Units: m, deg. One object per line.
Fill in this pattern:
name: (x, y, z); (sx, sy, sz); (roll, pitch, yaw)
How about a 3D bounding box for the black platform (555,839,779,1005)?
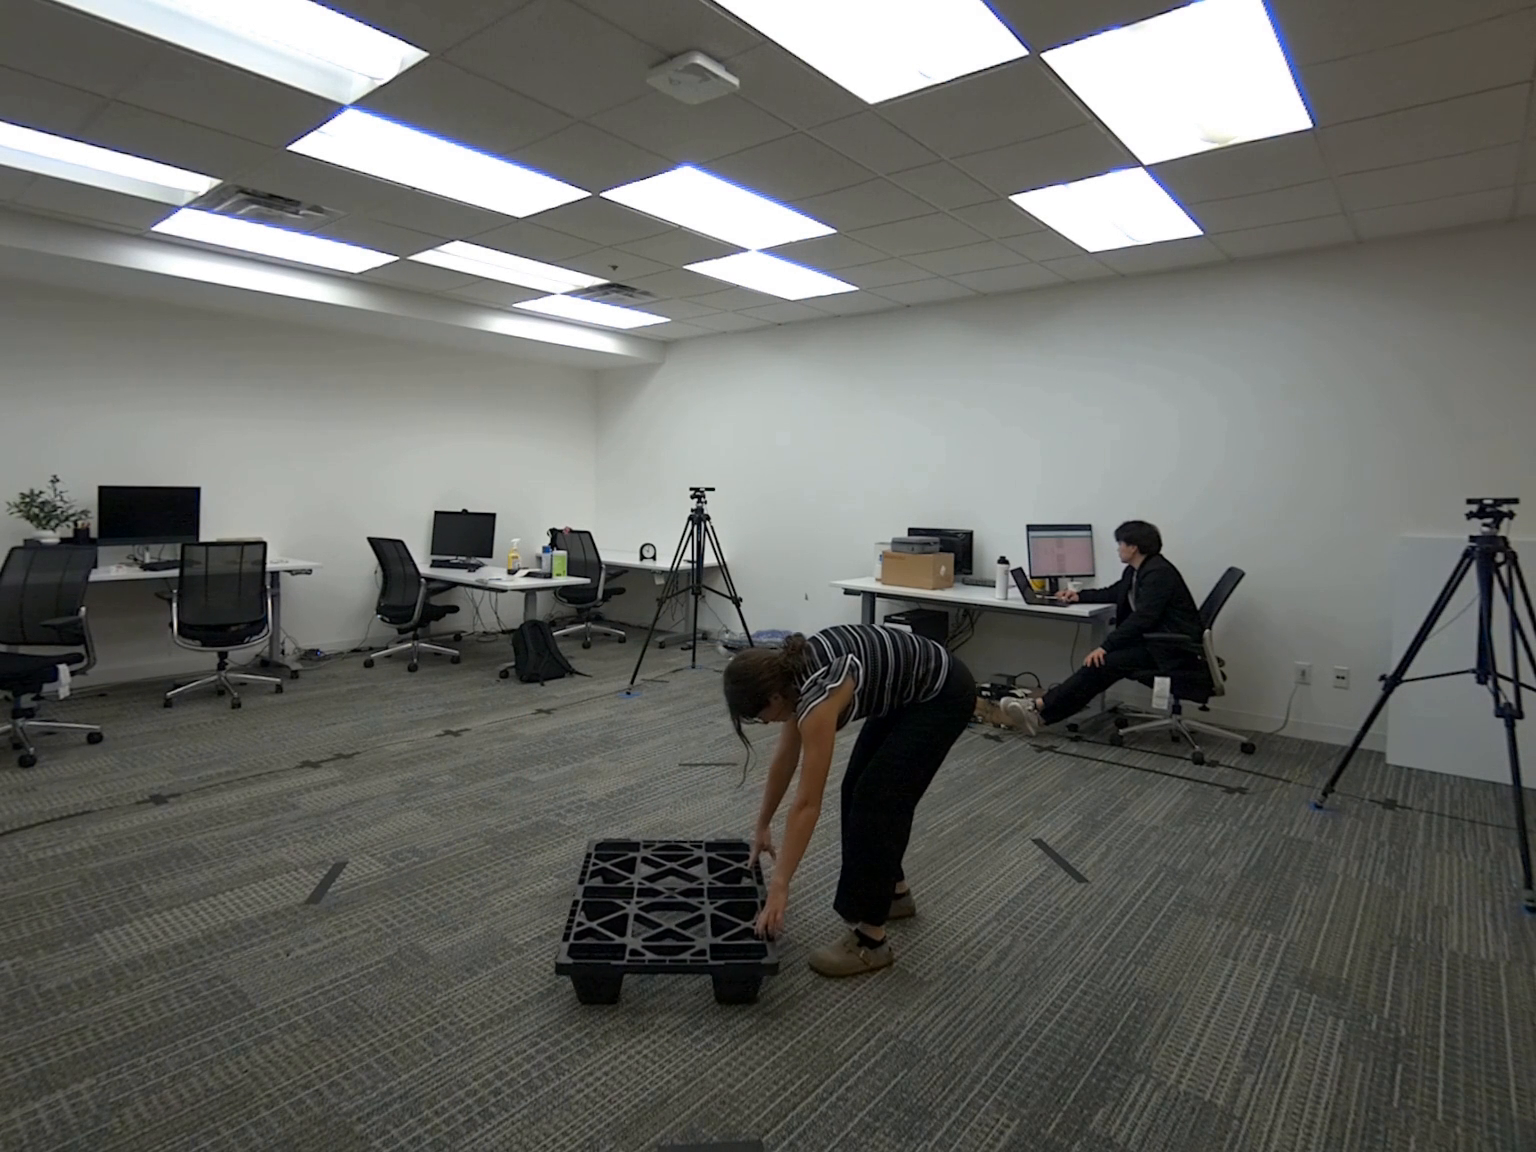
black platform: (-0.312, 1.040, 2.647); (0.603, 0.143, 0.812); (0, 5, -4)
